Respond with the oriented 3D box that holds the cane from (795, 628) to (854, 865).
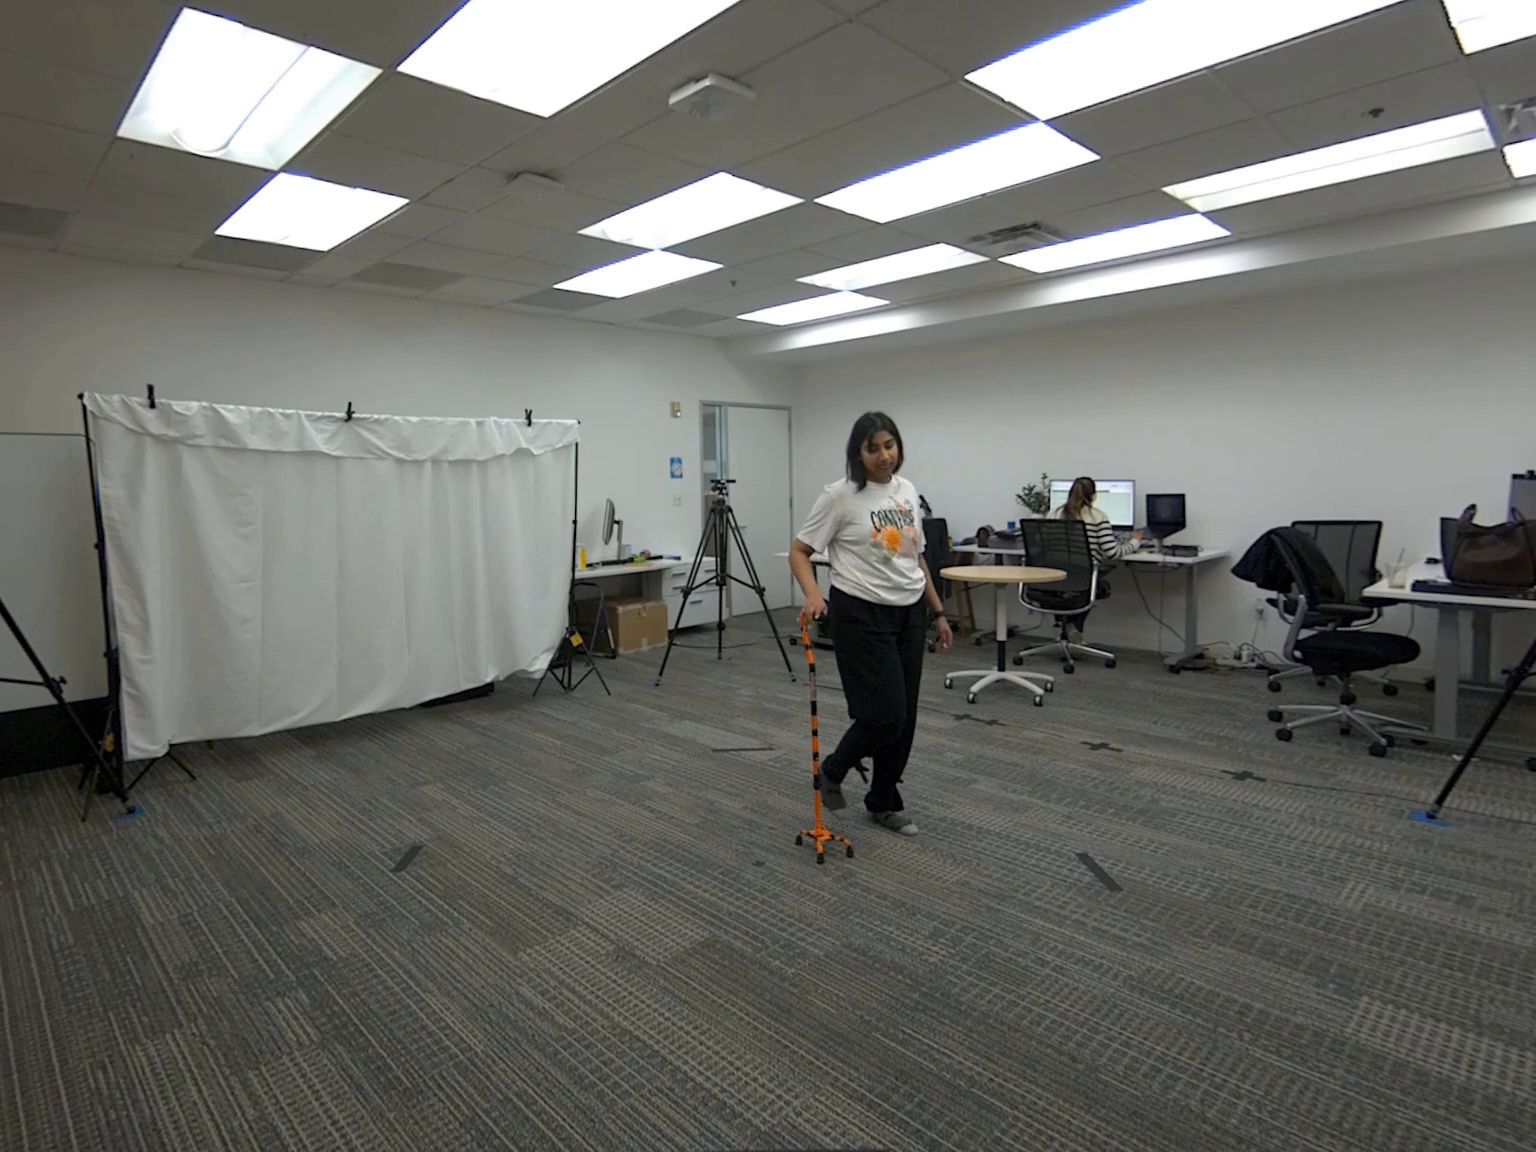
[{"bbox_3d":[0.198,0.582,3.175,0.149,0.904,0.211,-4,4,-22],"label":"cane"}]
